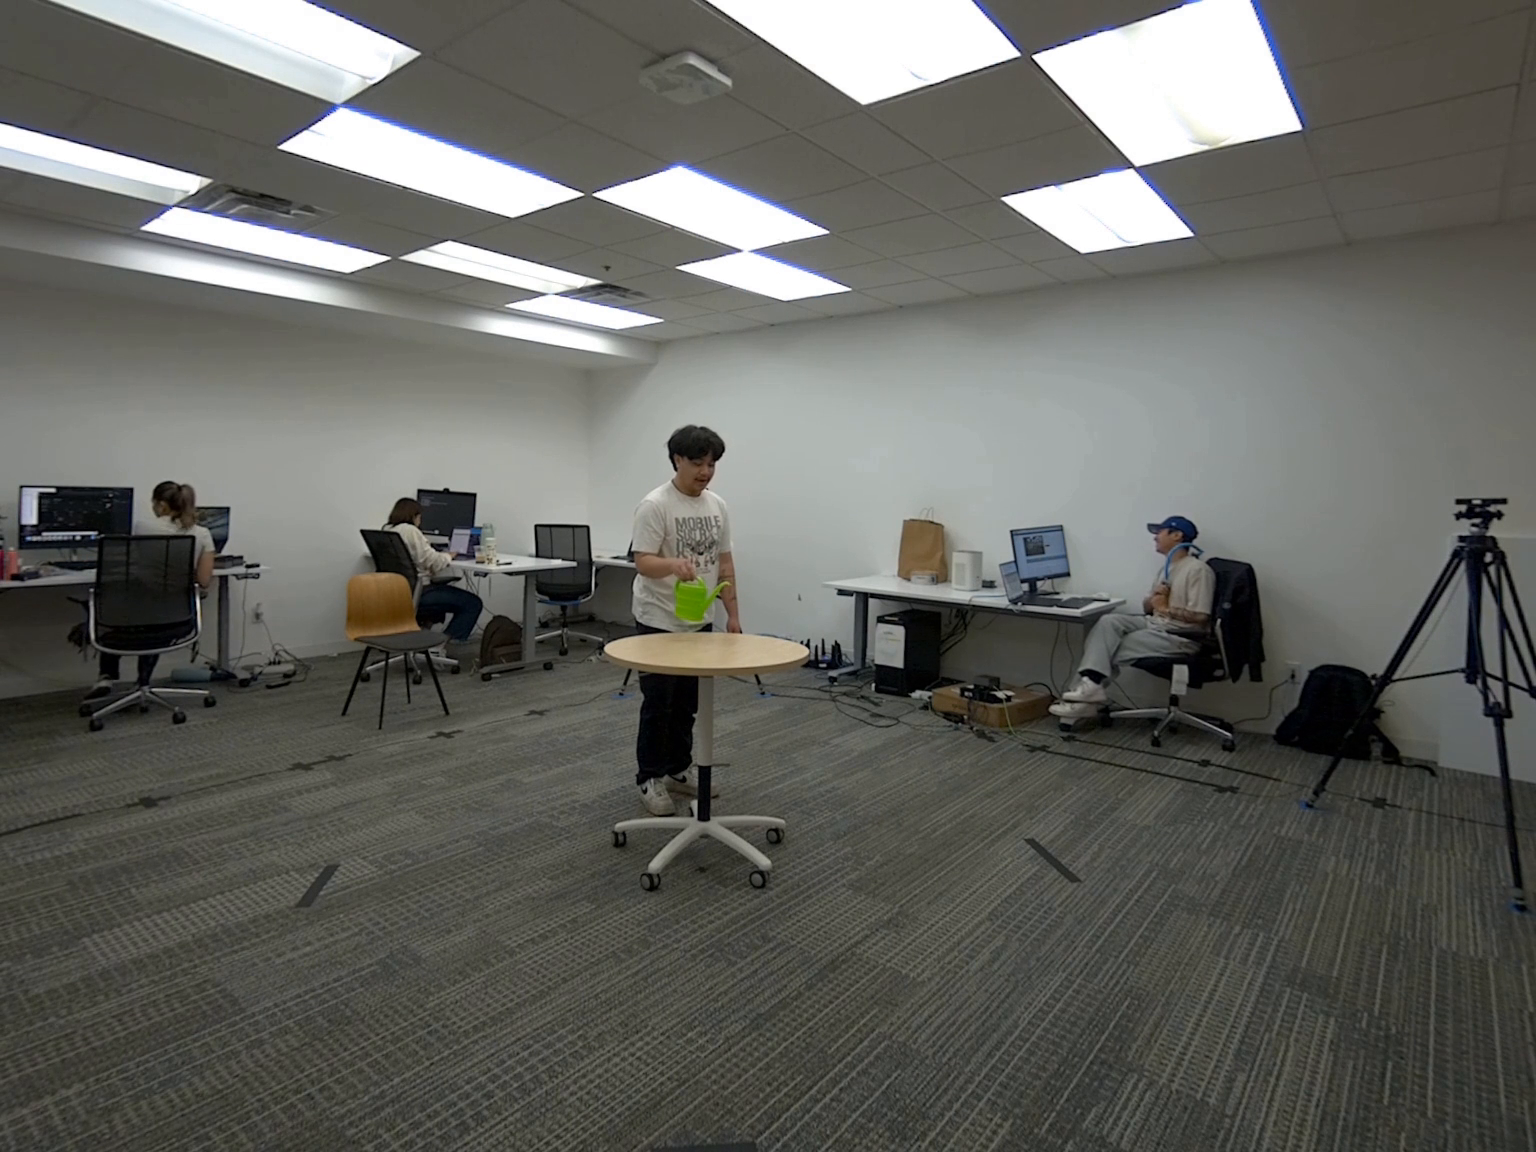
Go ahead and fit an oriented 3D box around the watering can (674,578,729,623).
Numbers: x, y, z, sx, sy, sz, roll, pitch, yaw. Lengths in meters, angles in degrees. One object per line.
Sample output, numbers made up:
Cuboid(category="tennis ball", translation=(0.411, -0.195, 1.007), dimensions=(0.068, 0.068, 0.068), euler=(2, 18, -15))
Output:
Cuboid(category="watering can", translation=(-0.285, 0.086, 3.329), dimensions=(0.095, 0.176, 0.287), euler=(3, 4, -34))
